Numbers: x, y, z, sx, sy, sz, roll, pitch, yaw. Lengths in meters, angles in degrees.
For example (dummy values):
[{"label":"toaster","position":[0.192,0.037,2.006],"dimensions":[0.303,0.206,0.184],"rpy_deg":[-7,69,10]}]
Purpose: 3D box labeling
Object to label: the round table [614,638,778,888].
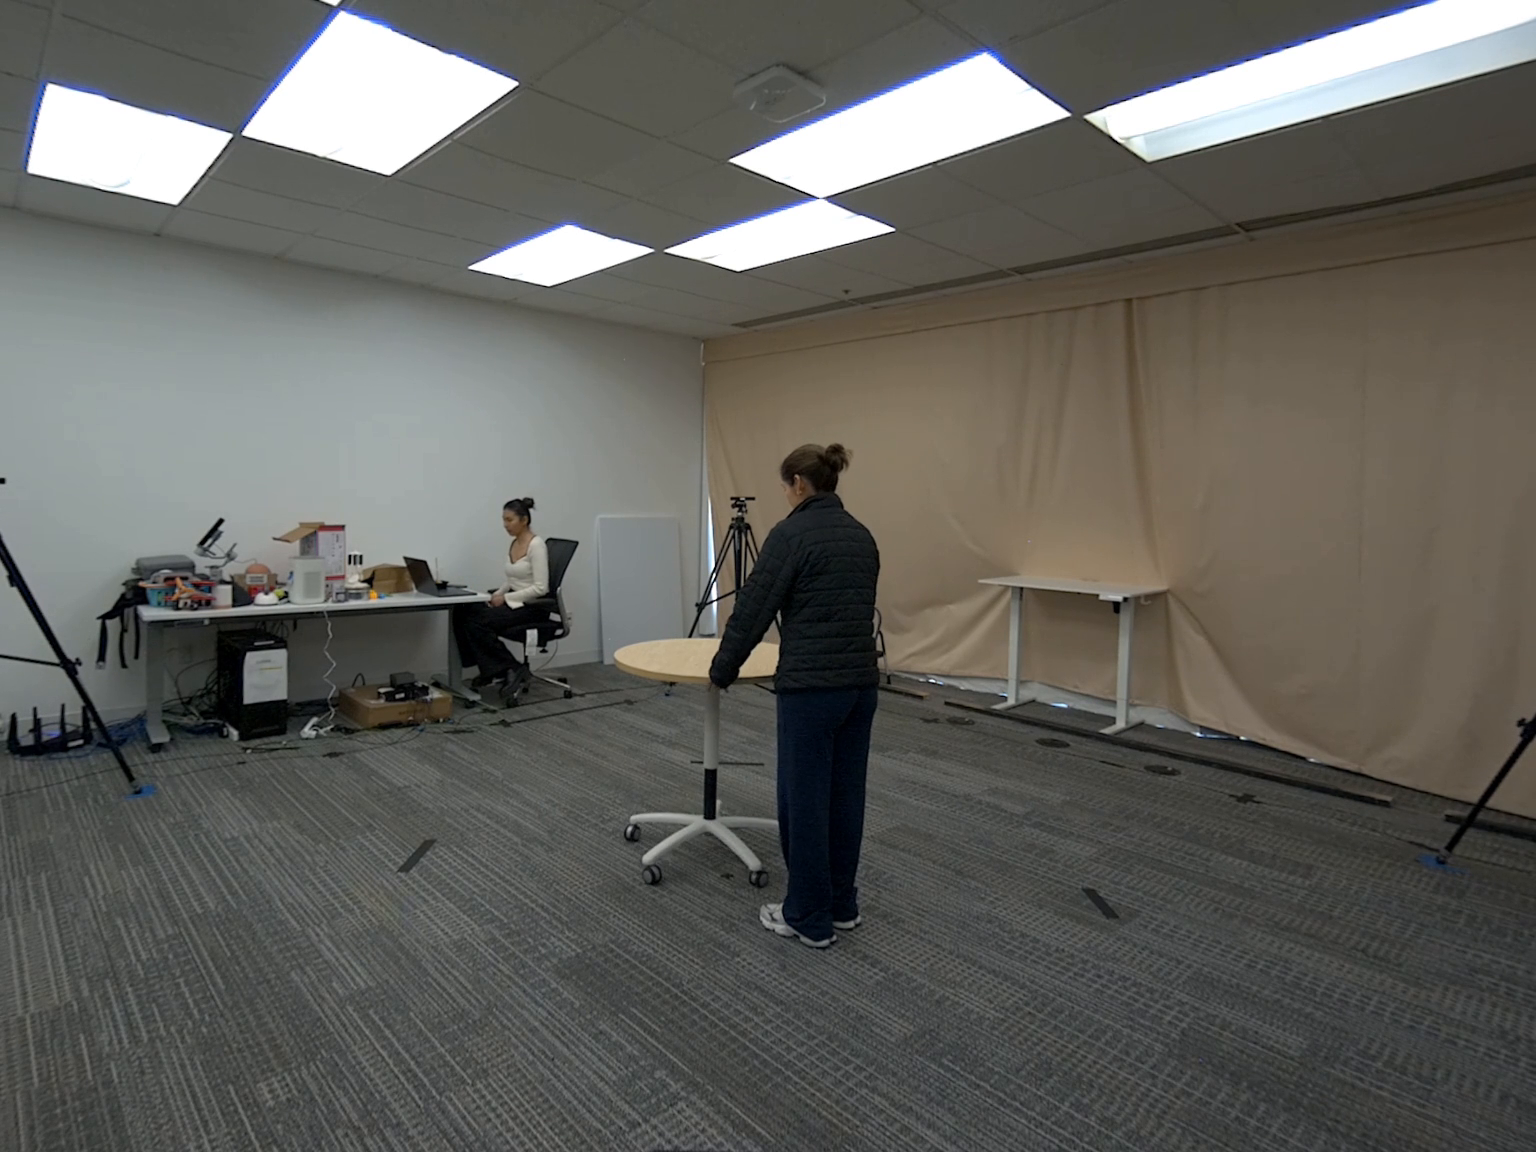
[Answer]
[{"label":"round table","position":[-0.222,0.700,3.249],"dimensions":[0.784,0.784,0.788],"rpy_deg":[1,4,-1]}]
